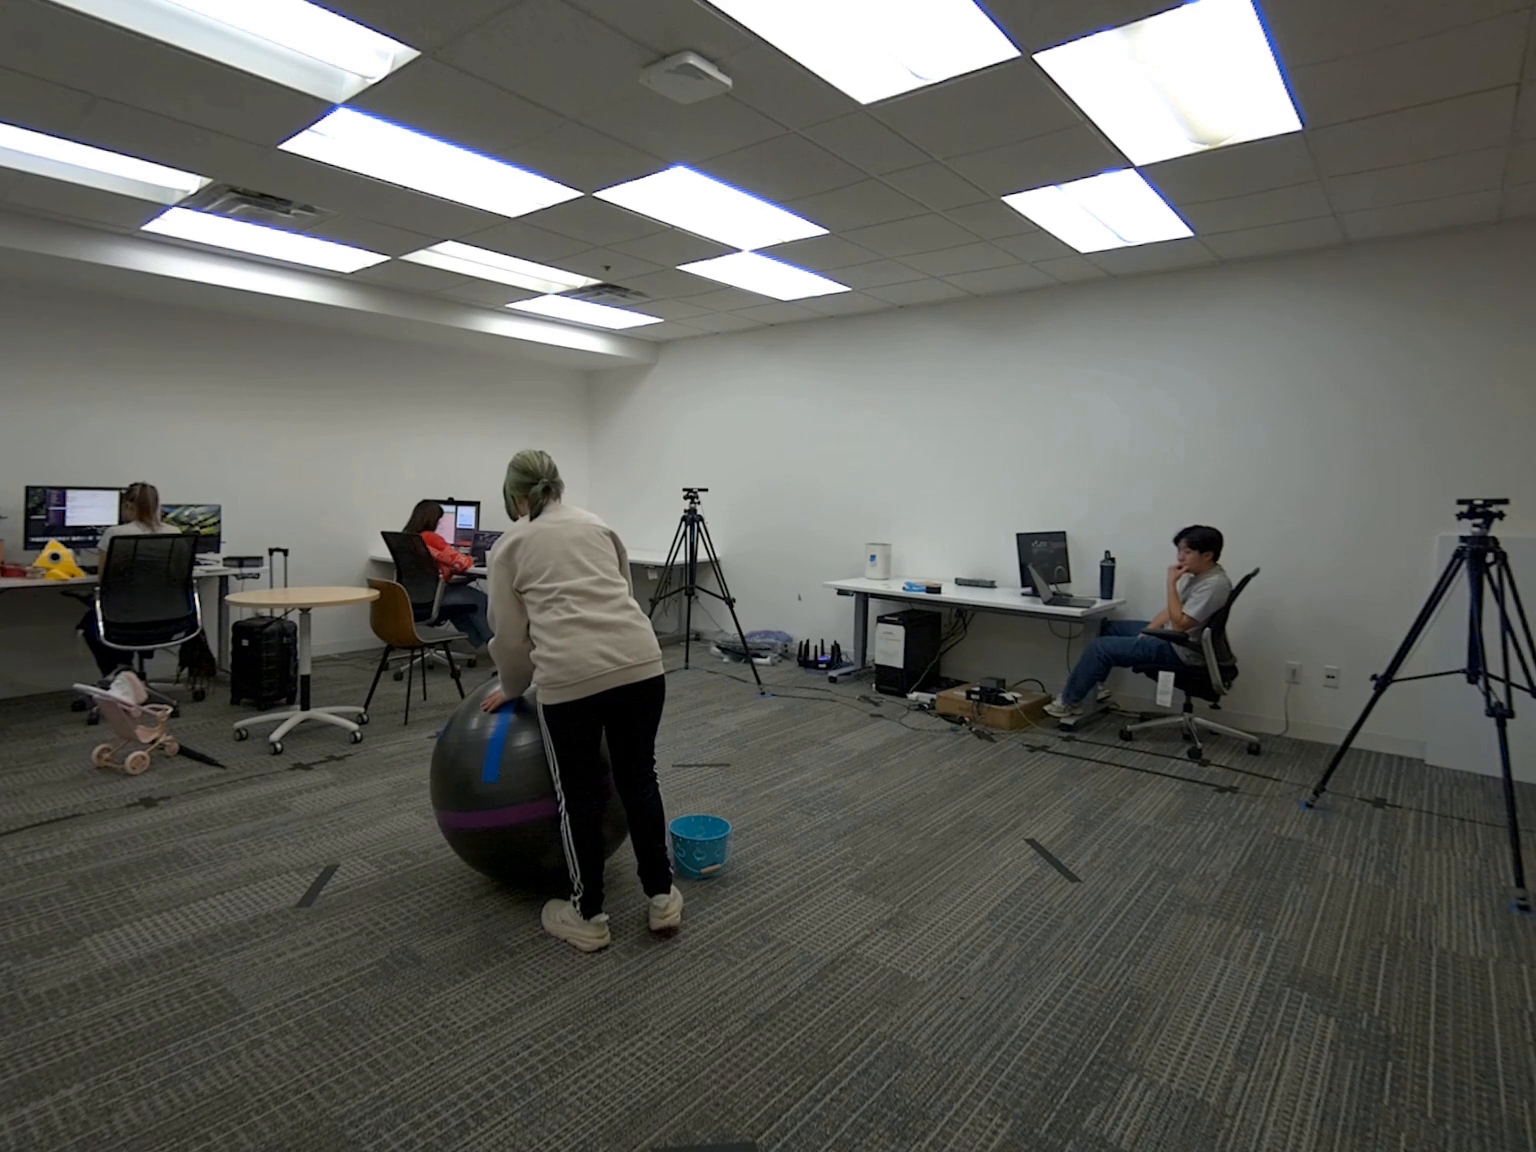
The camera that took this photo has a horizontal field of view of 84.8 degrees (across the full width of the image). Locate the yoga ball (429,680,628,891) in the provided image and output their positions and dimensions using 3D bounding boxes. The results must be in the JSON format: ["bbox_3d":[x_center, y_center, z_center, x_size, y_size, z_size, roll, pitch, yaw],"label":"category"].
[{"bbox_3d":[-0.818,0.702,3.017,0.757,0.755,0.762,1,4,-2],"label":"yoga ball"}]
